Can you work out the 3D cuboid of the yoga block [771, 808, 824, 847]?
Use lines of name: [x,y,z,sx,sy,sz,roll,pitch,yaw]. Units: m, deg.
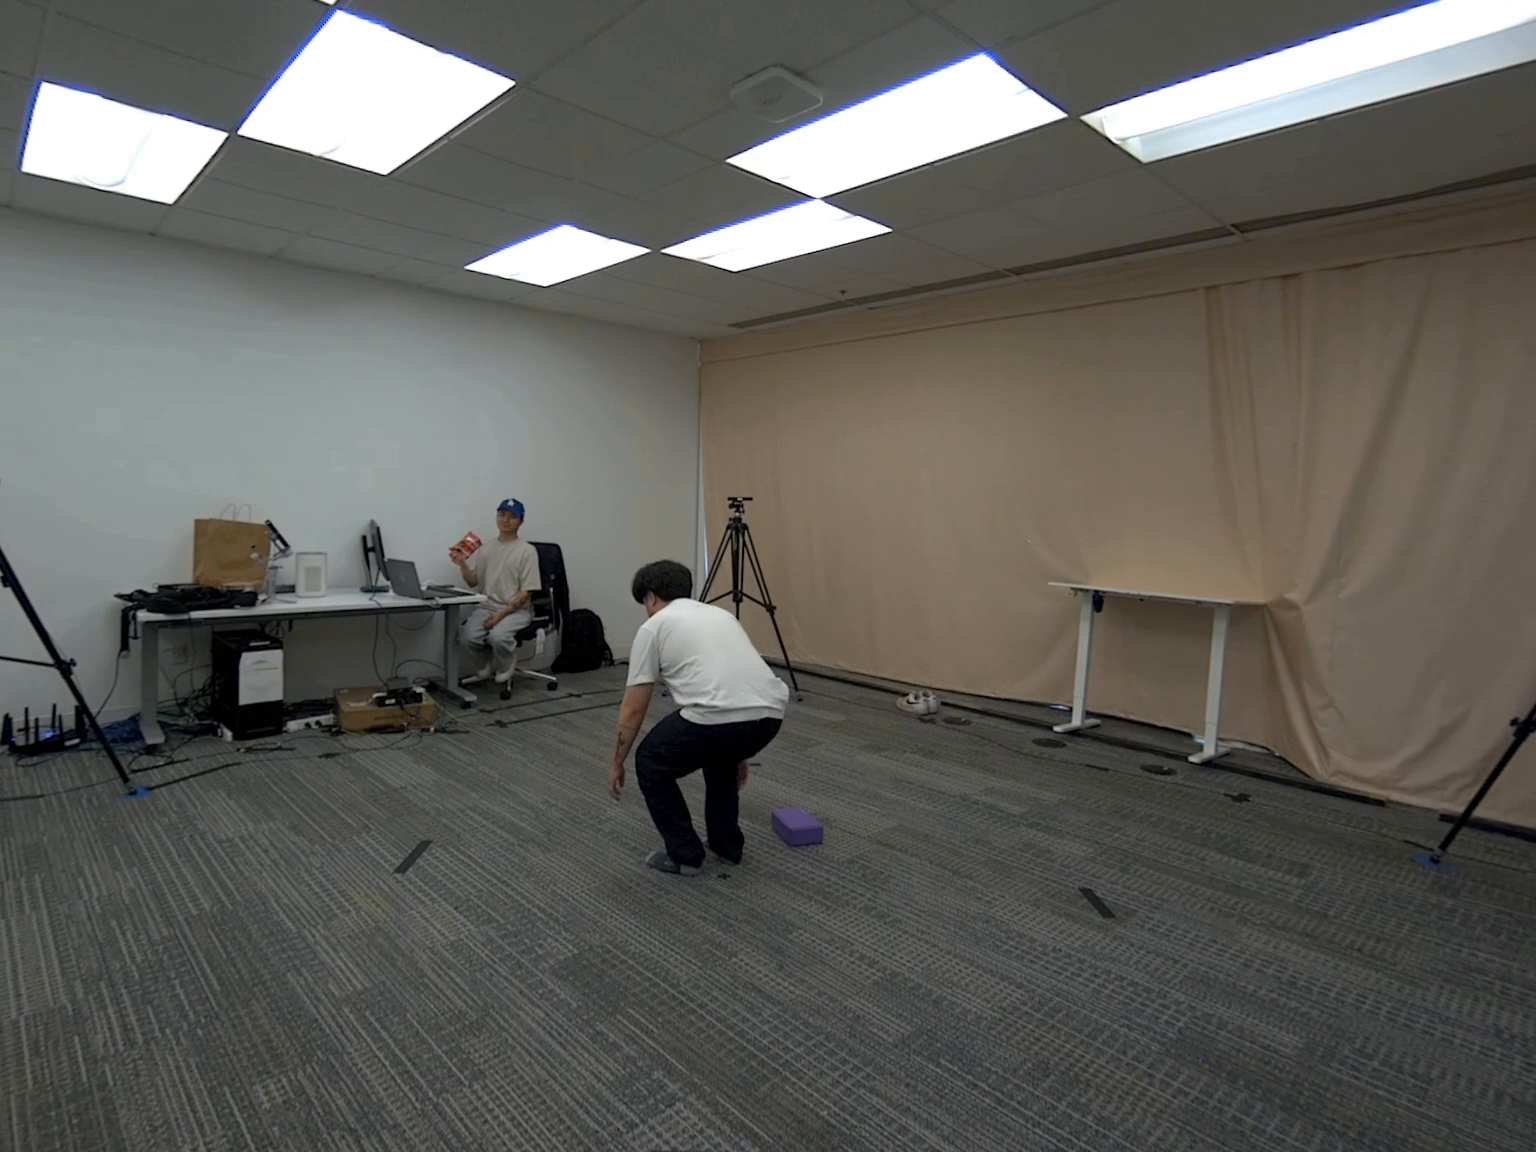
yoga block: [0.109,1.038,3.504,0.147,0.076,0.233,-1,5,-19]
